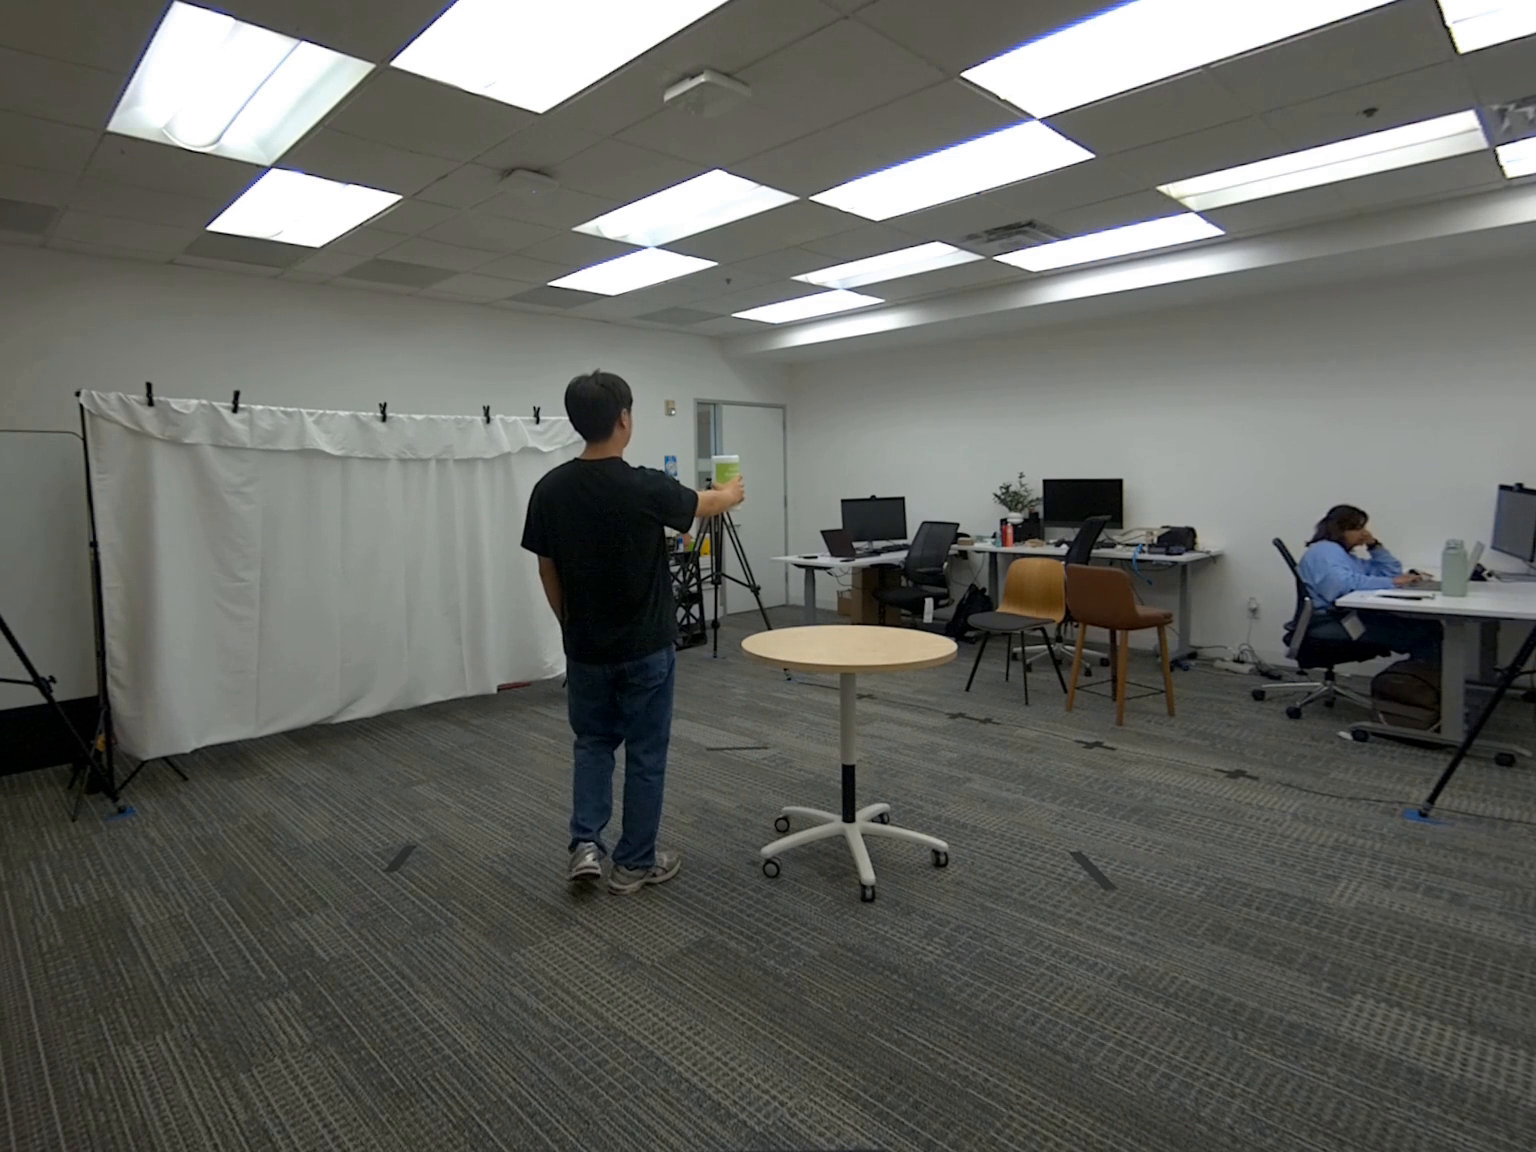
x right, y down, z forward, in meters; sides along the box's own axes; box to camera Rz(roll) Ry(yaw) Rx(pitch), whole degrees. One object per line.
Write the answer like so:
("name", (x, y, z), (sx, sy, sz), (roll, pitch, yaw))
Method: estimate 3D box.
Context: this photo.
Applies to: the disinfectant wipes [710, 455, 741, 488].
("disinfectant wipes", (-0.162, -0.363, 3.333), (0.118, 0.216, 0.118), (-2, 7, -1))
